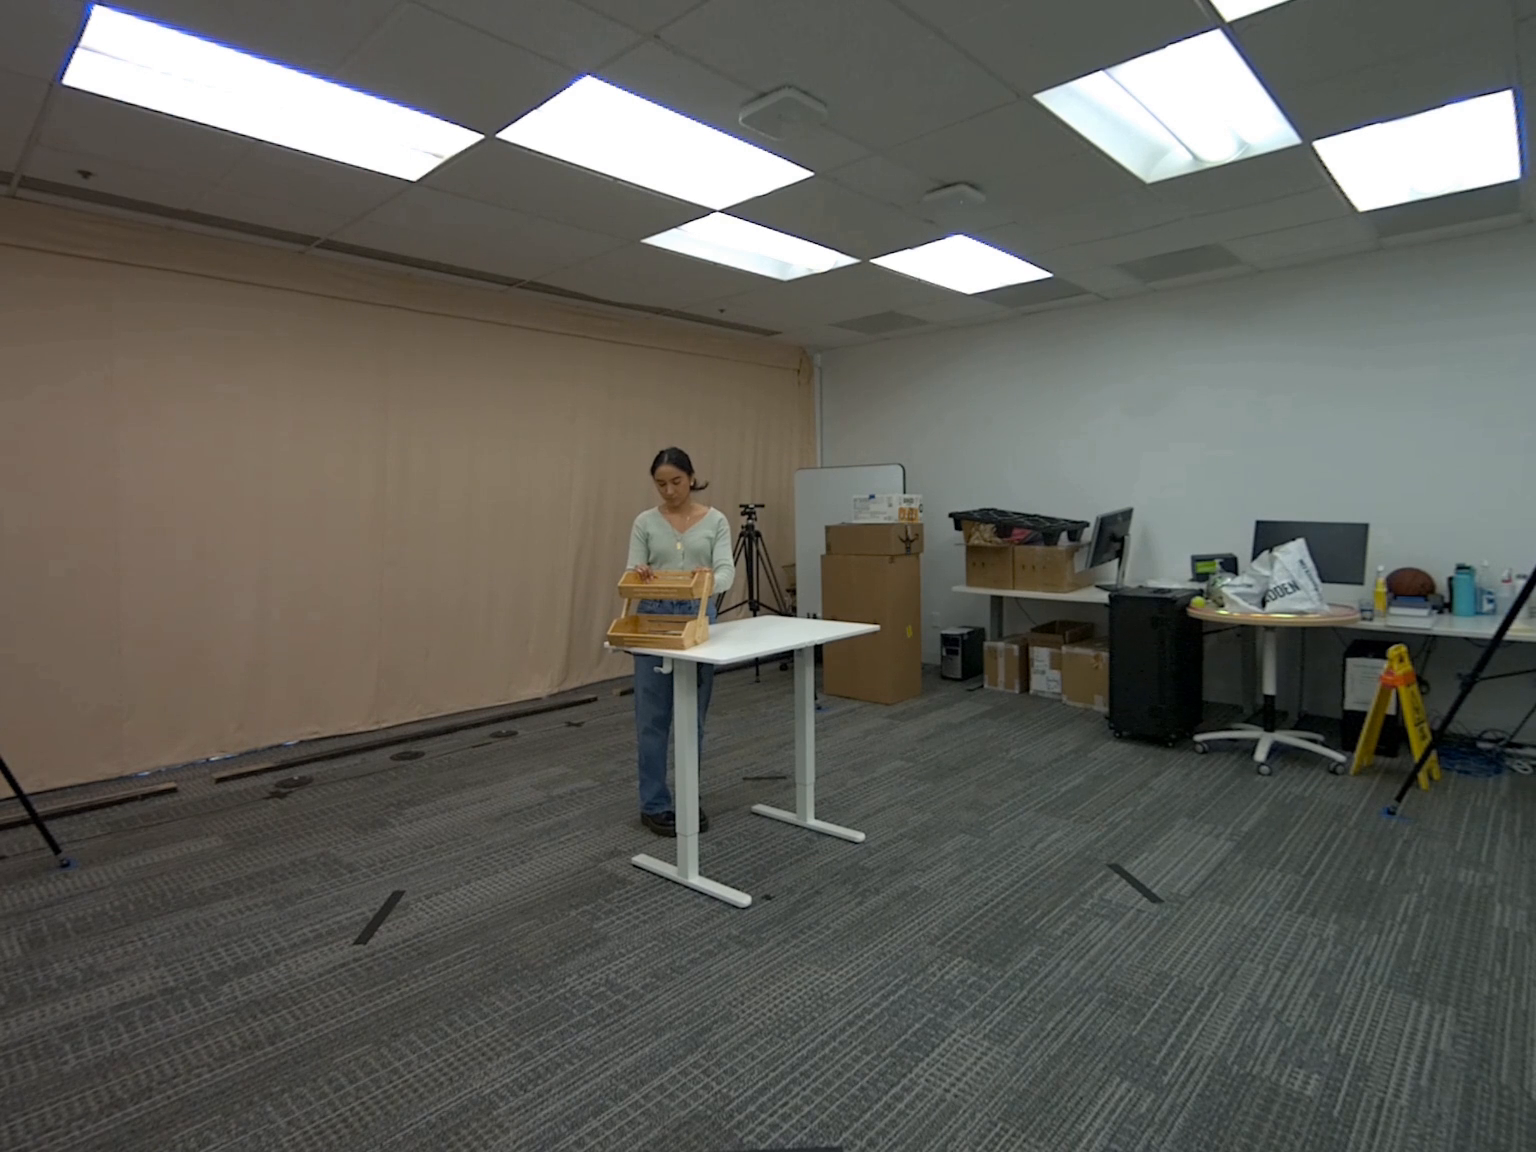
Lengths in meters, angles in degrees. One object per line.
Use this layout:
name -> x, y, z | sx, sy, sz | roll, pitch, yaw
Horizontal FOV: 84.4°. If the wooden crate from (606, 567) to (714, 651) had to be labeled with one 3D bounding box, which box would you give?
wooden crate -> -0.396, 0.113, 3.143 | 0.331, 0.273, 0.296 | 0, 4, 19
